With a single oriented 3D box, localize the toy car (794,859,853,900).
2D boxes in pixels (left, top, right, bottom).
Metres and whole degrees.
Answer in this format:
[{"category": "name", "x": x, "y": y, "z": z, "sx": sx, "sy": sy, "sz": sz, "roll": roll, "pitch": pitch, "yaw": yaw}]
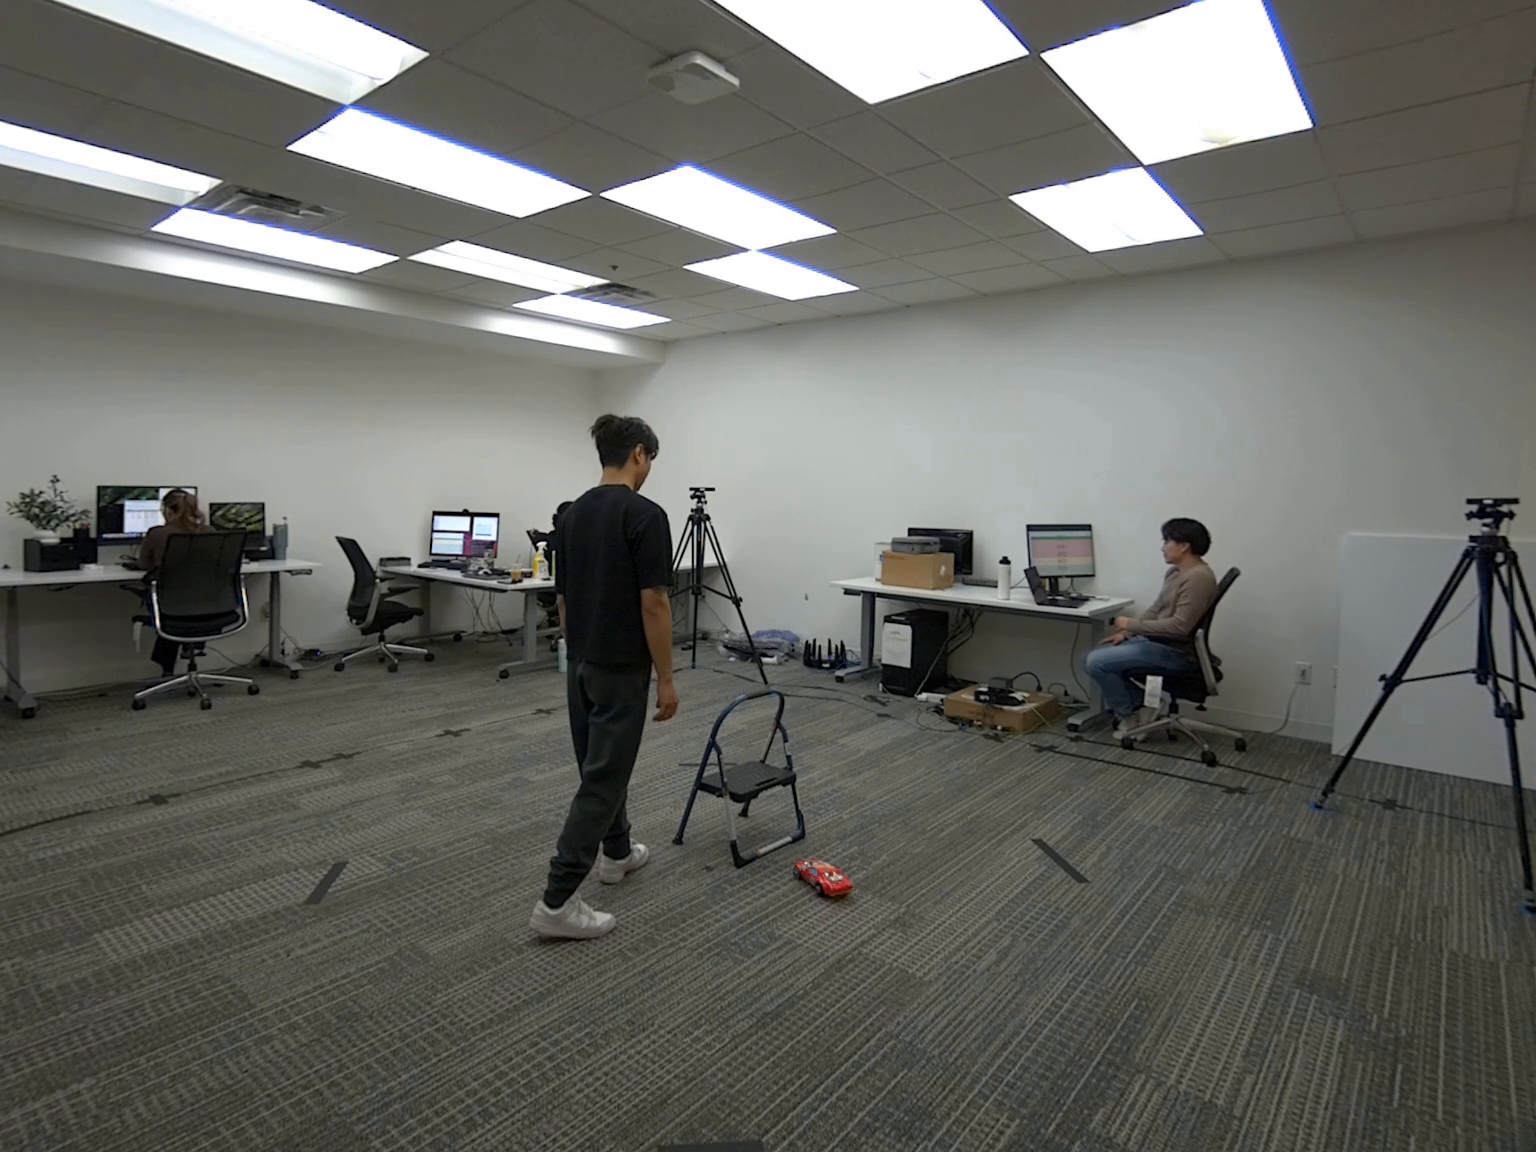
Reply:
[{"category": "toy car", "x": 0.188, "y": 1.057, "z": 2.977, "sx": 0.127, "sy": 0.084, "sz": 0.259, "roll": 1, "pitch": -7, "yaw": -28}]
